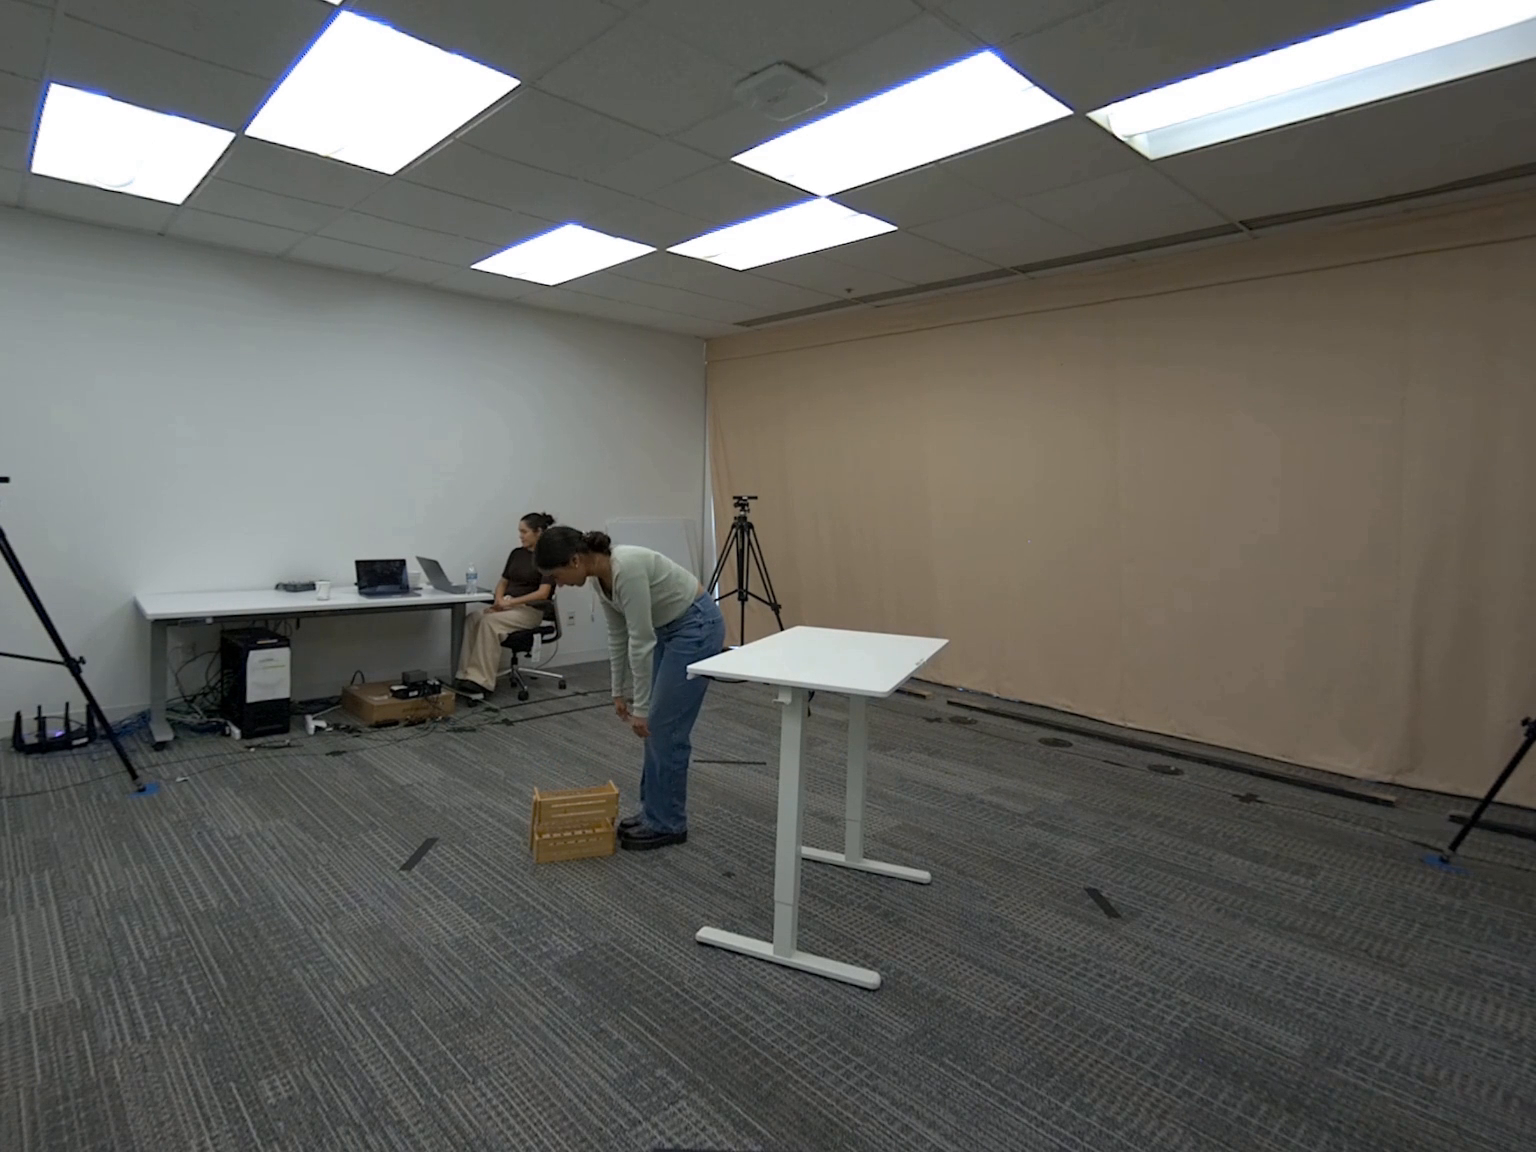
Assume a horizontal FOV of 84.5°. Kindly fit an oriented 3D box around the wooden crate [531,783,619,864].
[{"bbox_3d":[-0.779,0.939,3.296,0.319,0.272,0.307,0,5,-21],"label":"wooden crate"}]
